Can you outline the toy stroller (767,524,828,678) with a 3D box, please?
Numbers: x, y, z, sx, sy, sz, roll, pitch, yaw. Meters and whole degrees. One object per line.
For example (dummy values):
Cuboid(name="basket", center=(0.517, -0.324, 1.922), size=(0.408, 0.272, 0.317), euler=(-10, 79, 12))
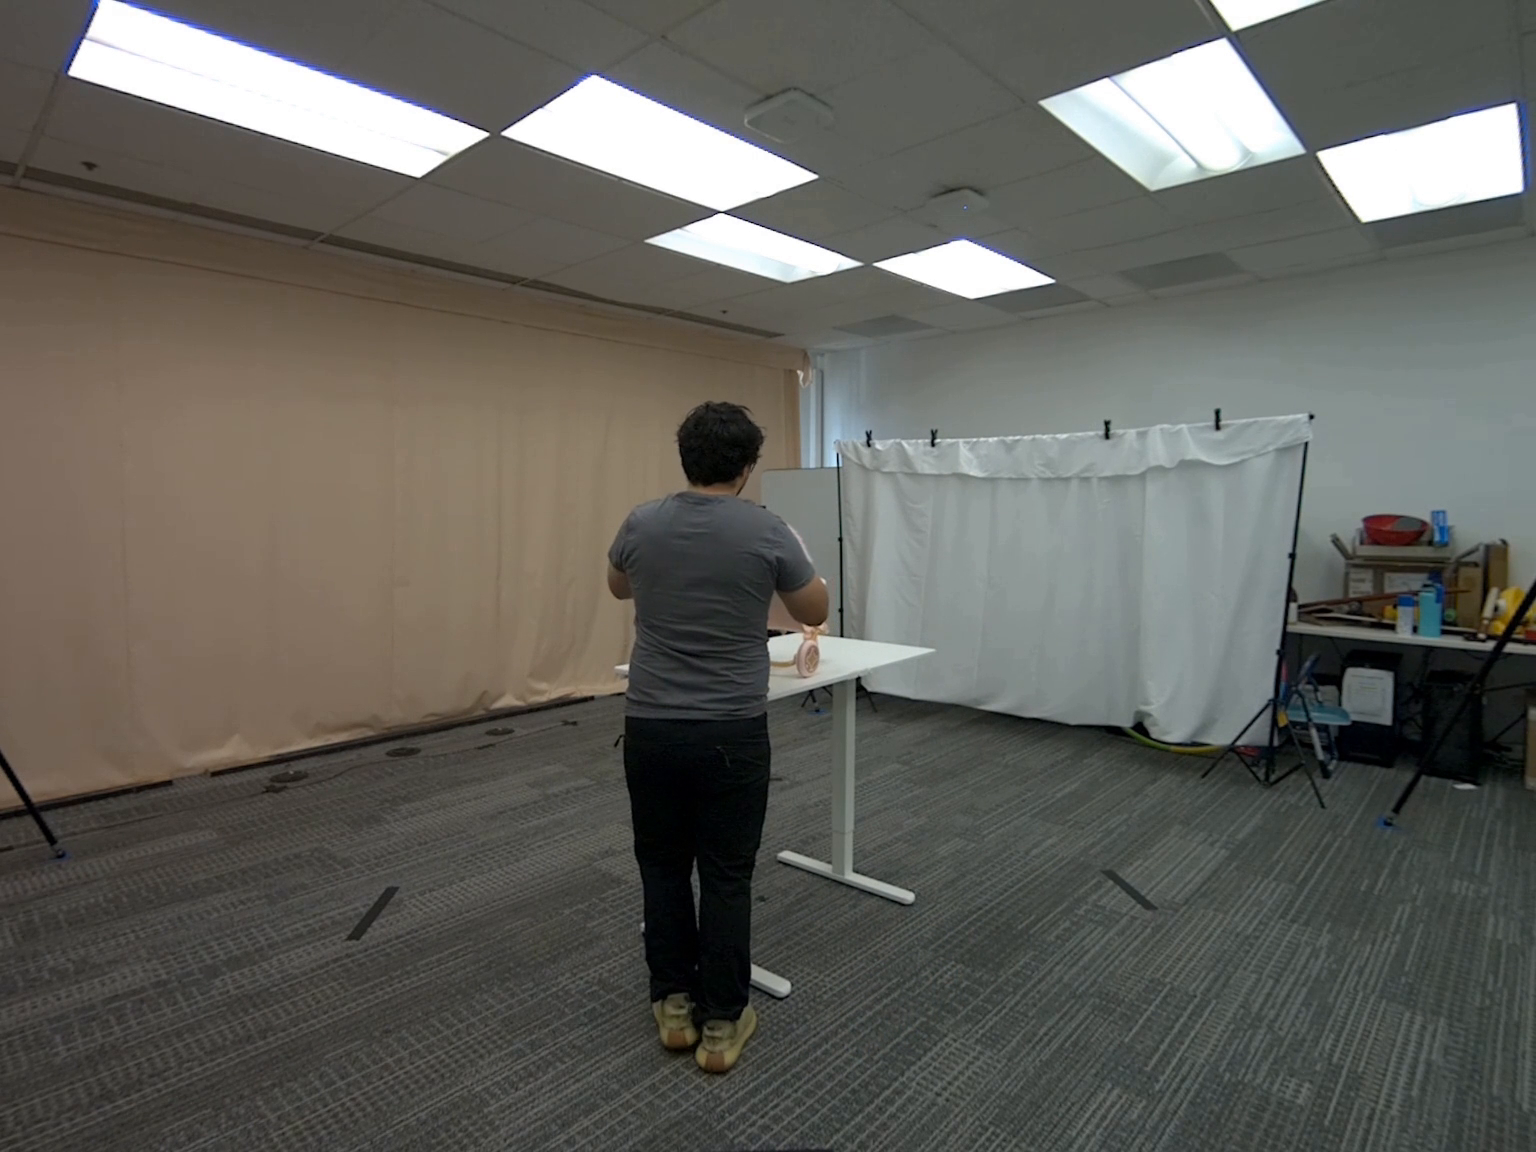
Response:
Cuboid(name="toy stroller", center=(0.041, 0.068, 2.586), size=(0.290, 0.527, 0.335), euler=(4, 24, 36))
